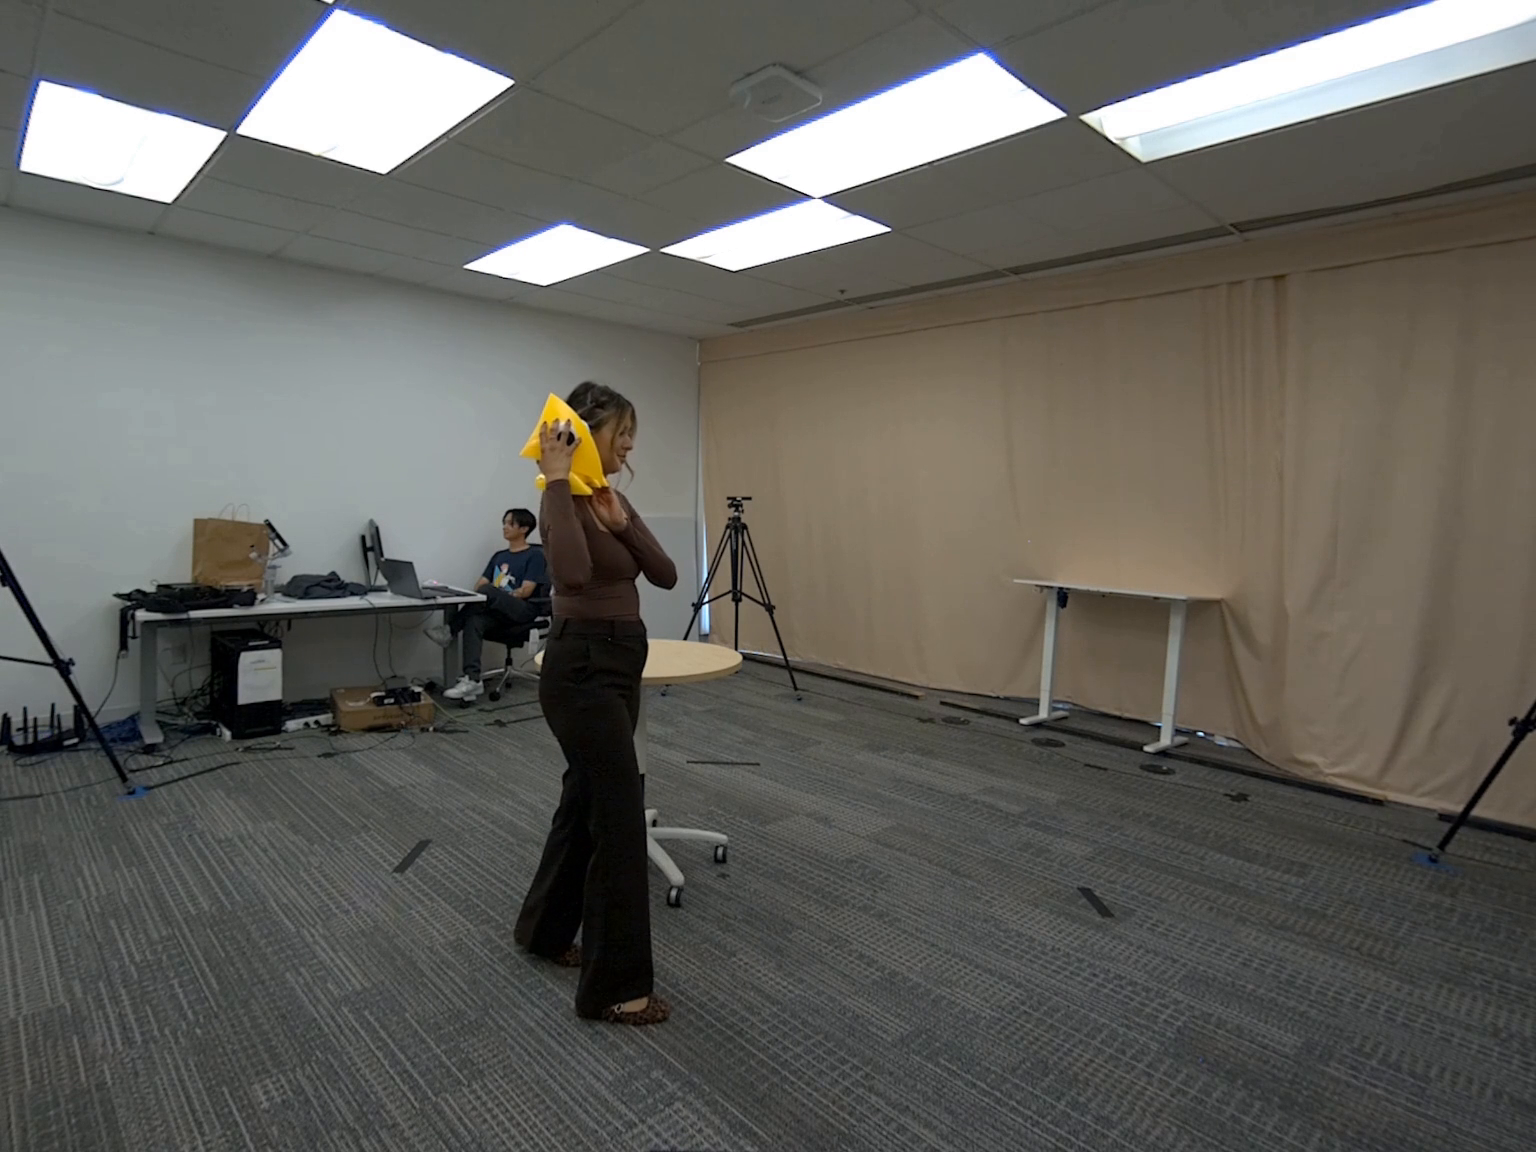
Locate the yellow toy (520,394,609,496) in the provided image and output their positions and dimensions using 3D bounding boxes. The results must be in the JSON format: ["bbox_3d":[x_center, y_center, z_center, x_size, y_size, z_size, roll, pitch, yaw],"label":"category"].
[{"bbox_3d":[-0.524,-0.345,2.148,0.194,0.228,0.205,11,16,7],"label":"yellow toy"}]
